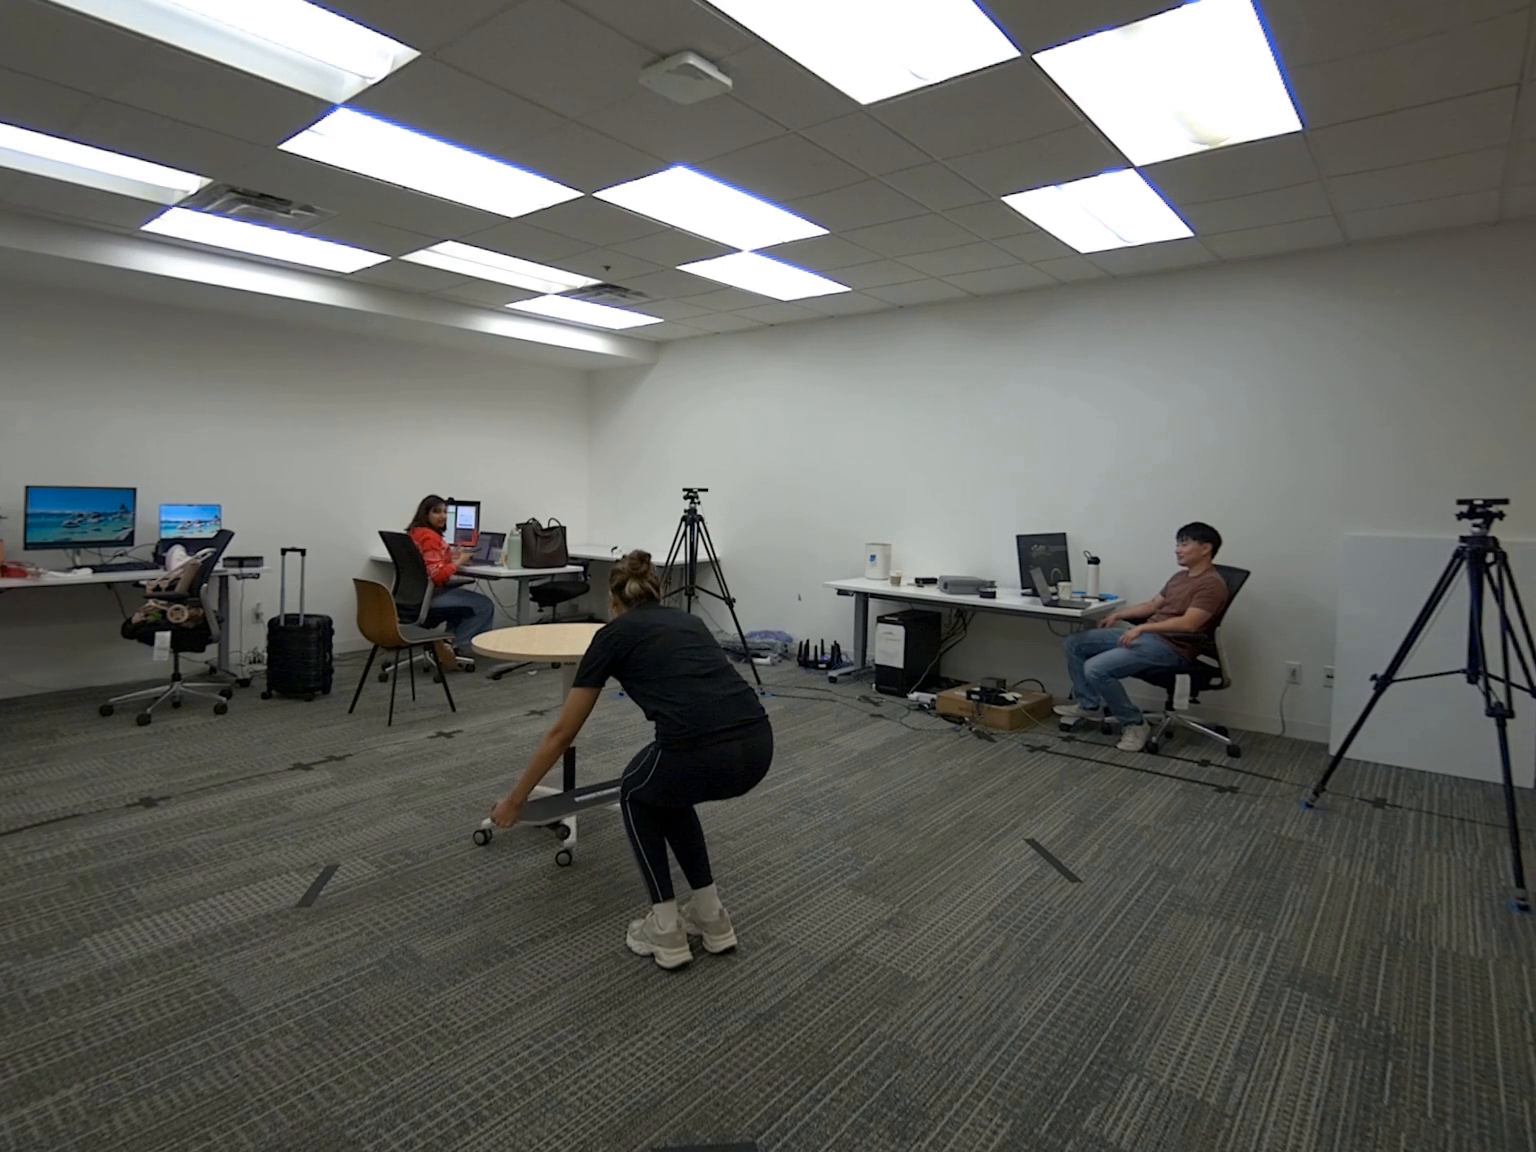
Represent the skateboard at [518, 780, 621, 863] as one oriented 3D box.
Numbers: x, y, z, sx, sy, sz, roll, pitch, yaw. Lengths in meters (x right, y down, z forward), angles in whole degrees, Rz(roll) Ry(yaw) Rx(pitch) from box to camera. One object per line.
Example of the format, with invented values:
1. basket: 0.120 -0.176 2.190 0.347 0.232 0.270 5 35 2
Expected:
1. skateboard: -0.596 0.787 2.943 0.762 0.110 0.200 -4 5 -43
